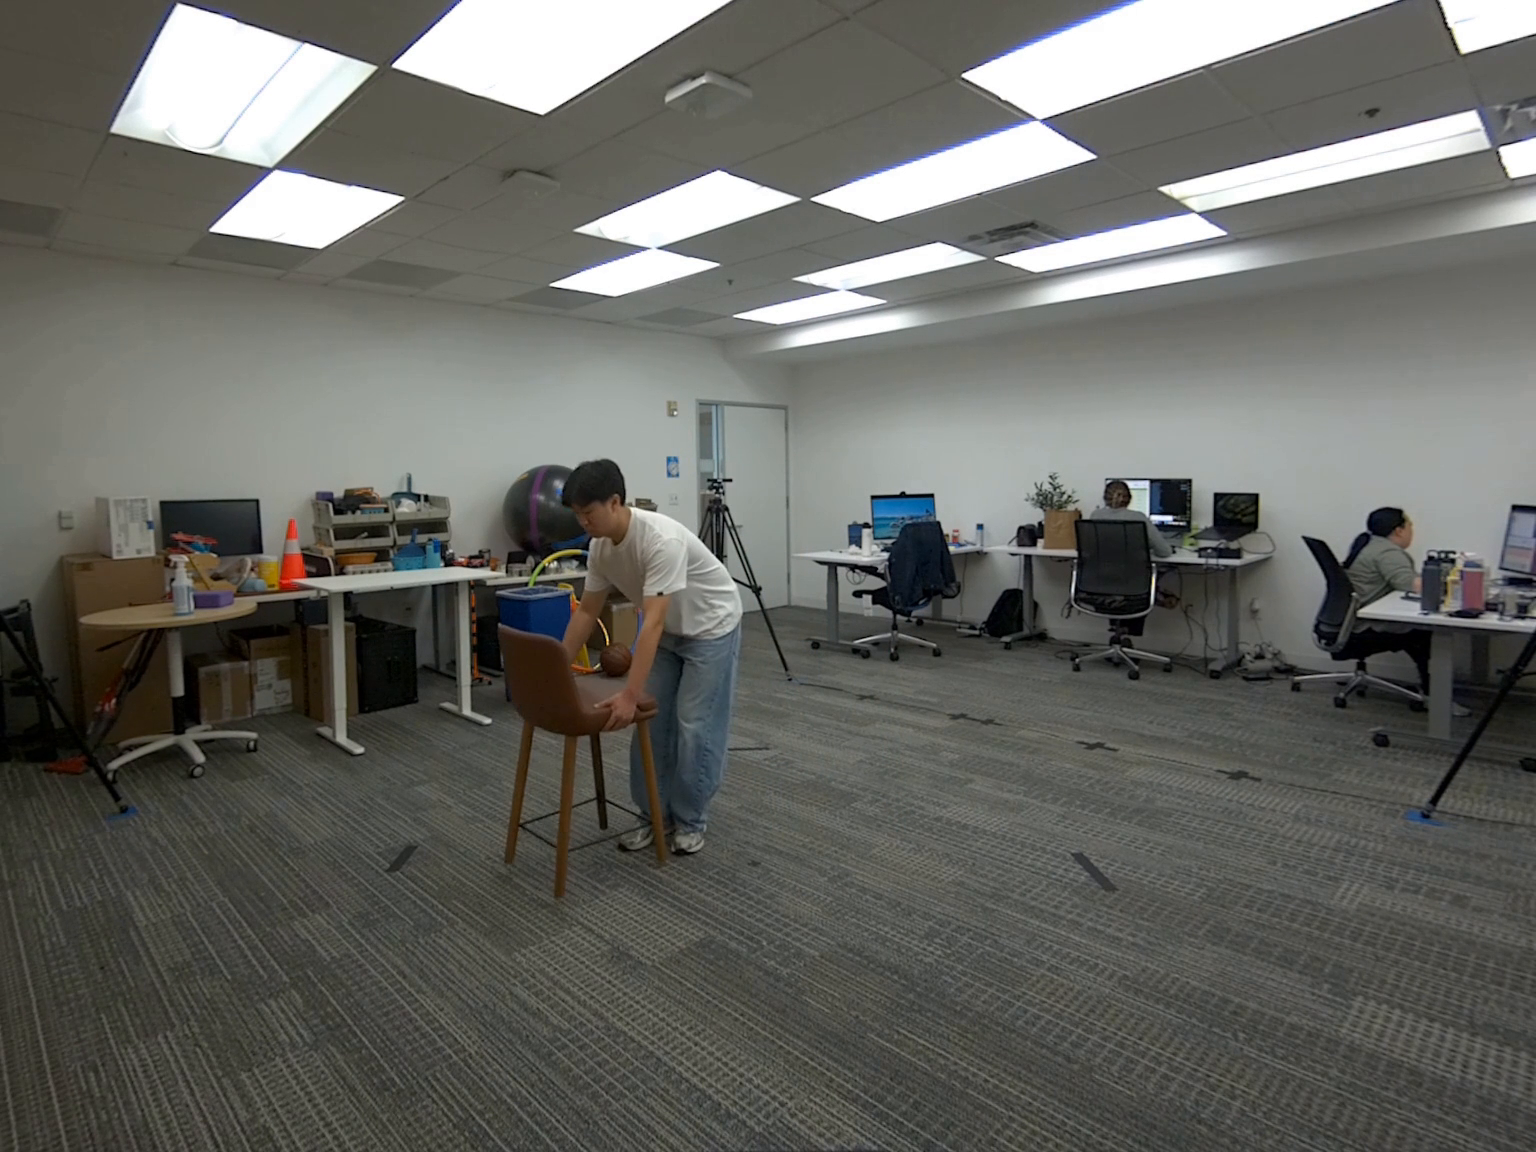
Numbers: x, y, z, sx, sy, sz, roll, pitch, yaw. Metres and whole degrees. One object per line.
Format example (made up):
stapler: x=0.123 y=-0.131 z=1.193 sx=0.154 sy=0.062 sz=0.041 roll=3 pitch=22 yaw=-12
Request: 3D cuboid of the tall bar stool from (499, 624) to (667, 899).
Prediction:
tall bar stool: x=-0.668 y=0.592 z=3.063 sx=0.455 sy=0.886 sz=0.470 roll=-7 pitch=7 yaw=-43
